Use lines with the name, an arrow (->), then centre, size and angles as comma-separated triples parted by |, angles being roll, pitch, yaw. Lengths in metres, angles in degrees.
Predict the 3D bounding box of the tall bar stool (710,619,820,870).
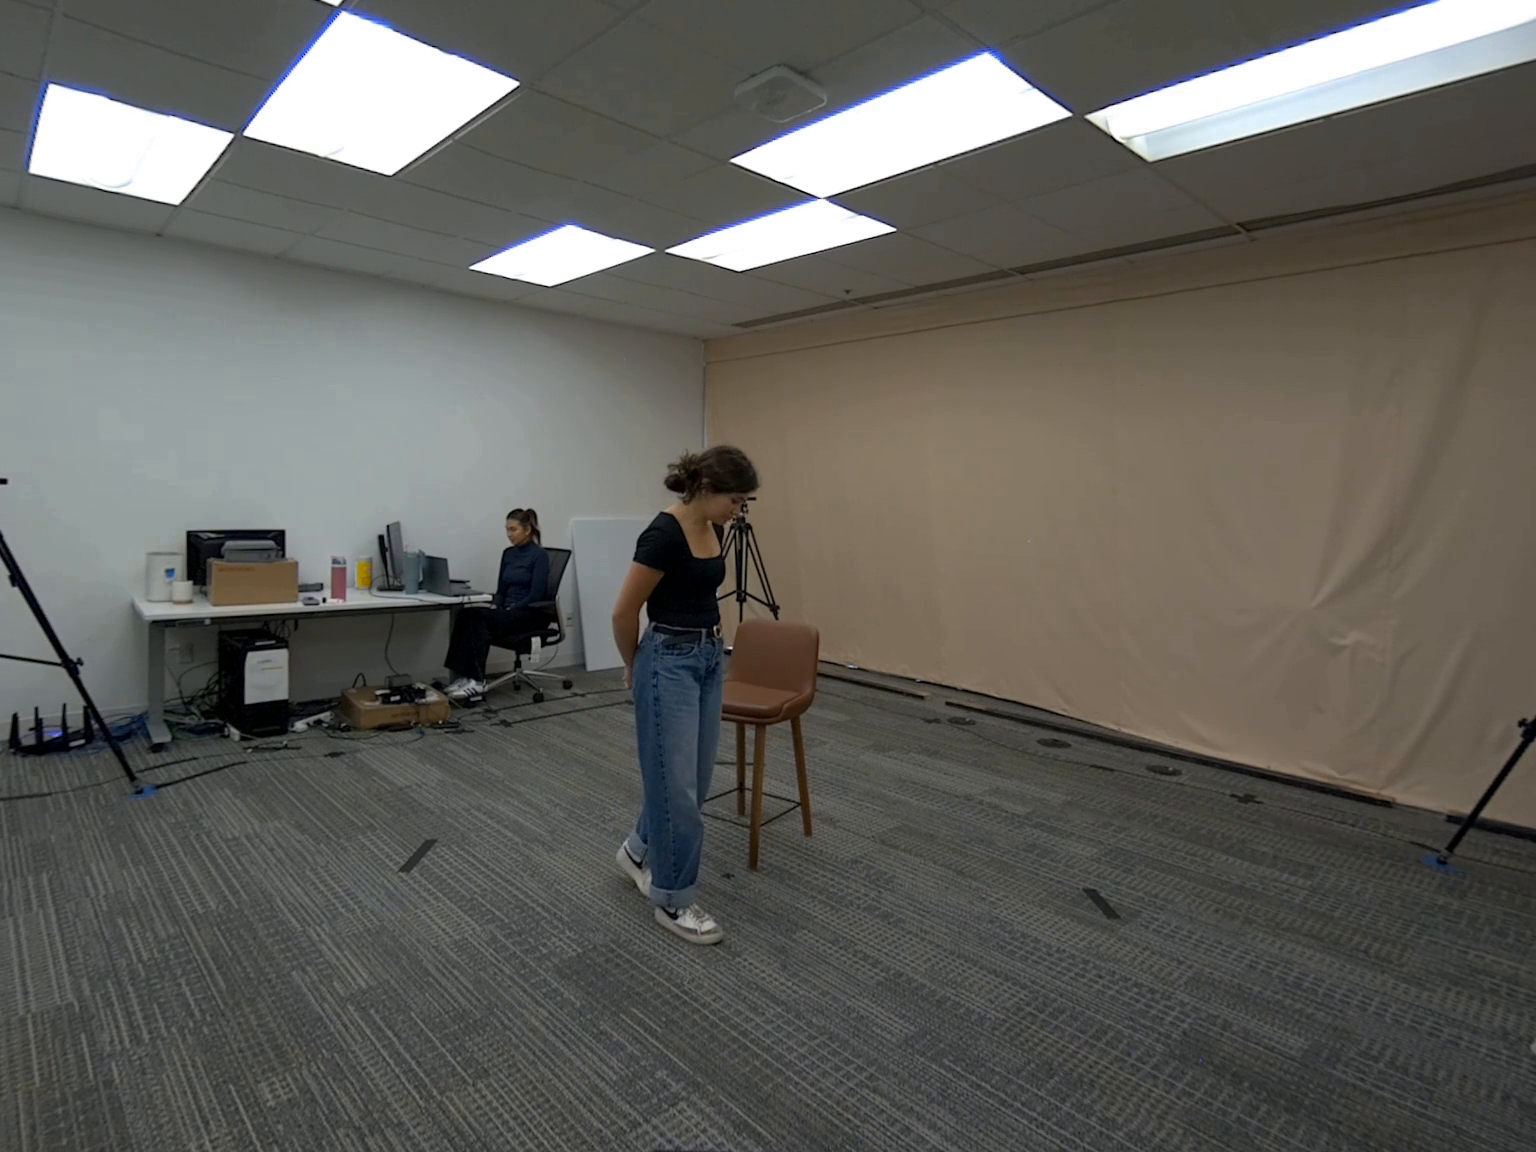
tall bar stool -> -0.082, 0.646, 3.424 | 0.467, 0.889, 0.457 | 4, 2, 36
